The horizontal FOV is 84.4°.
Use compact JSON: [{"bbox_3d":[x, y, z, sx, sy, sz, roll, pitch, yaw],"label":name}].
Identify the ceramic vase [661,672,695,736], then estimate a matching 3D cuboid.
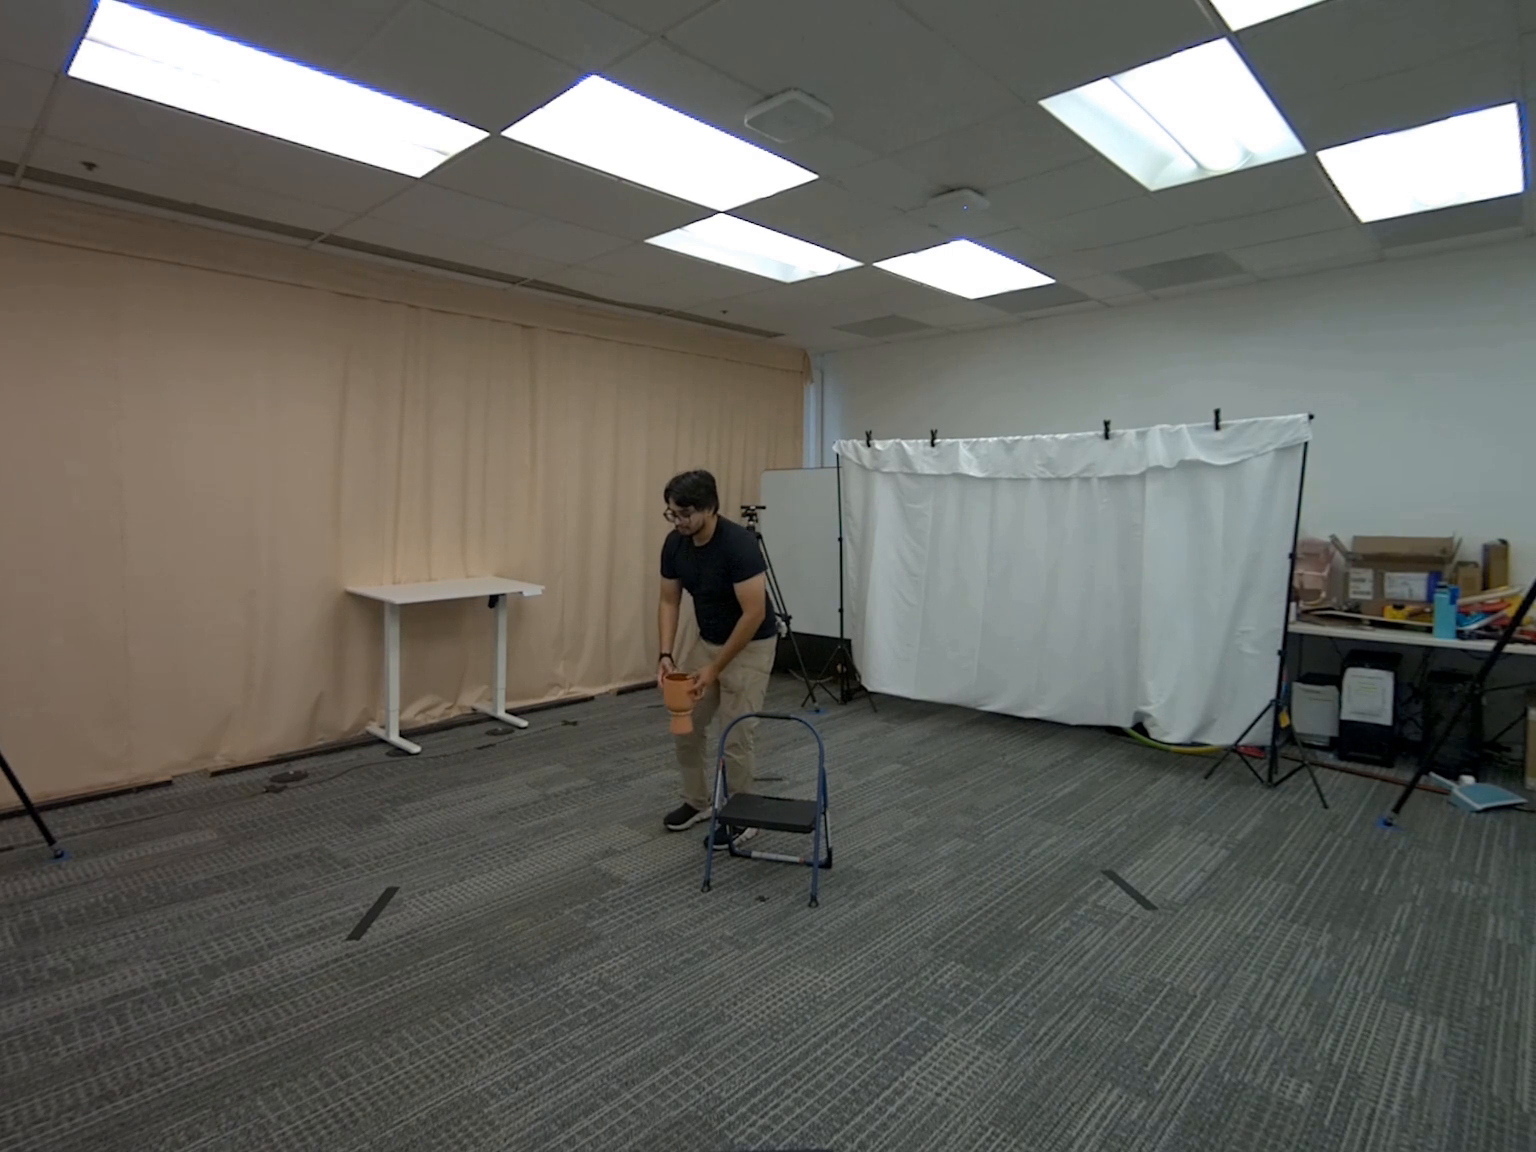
[{"bbox_3d":[-0.347,0.513,3.374,0.132,0.219,0.163,-1,8,-21],"label":"ceramic vase"}]
